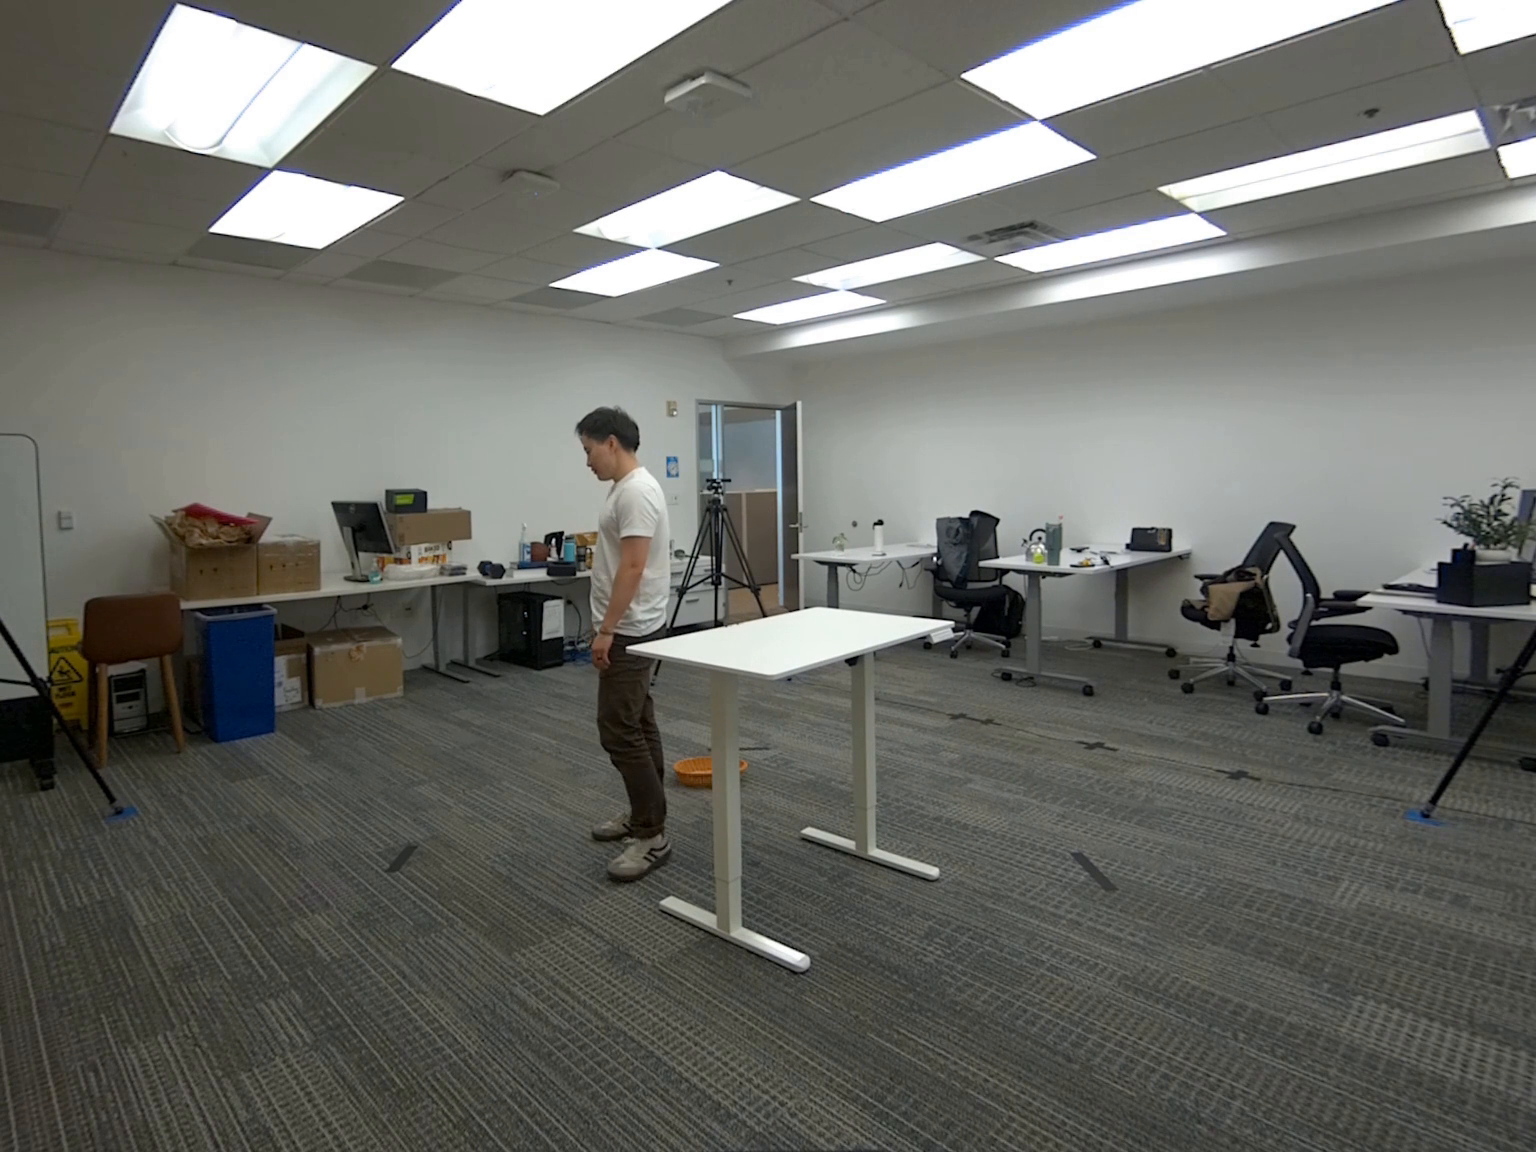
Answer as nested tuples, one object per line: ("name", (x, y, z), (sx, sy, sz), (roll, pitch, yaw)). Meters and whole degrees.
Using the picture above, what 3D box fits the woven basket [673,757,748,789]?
("woven basket", (-0.269, 0.913, 3.984), (0.351, 0.073, 0.253), (-1, 5, 1))
